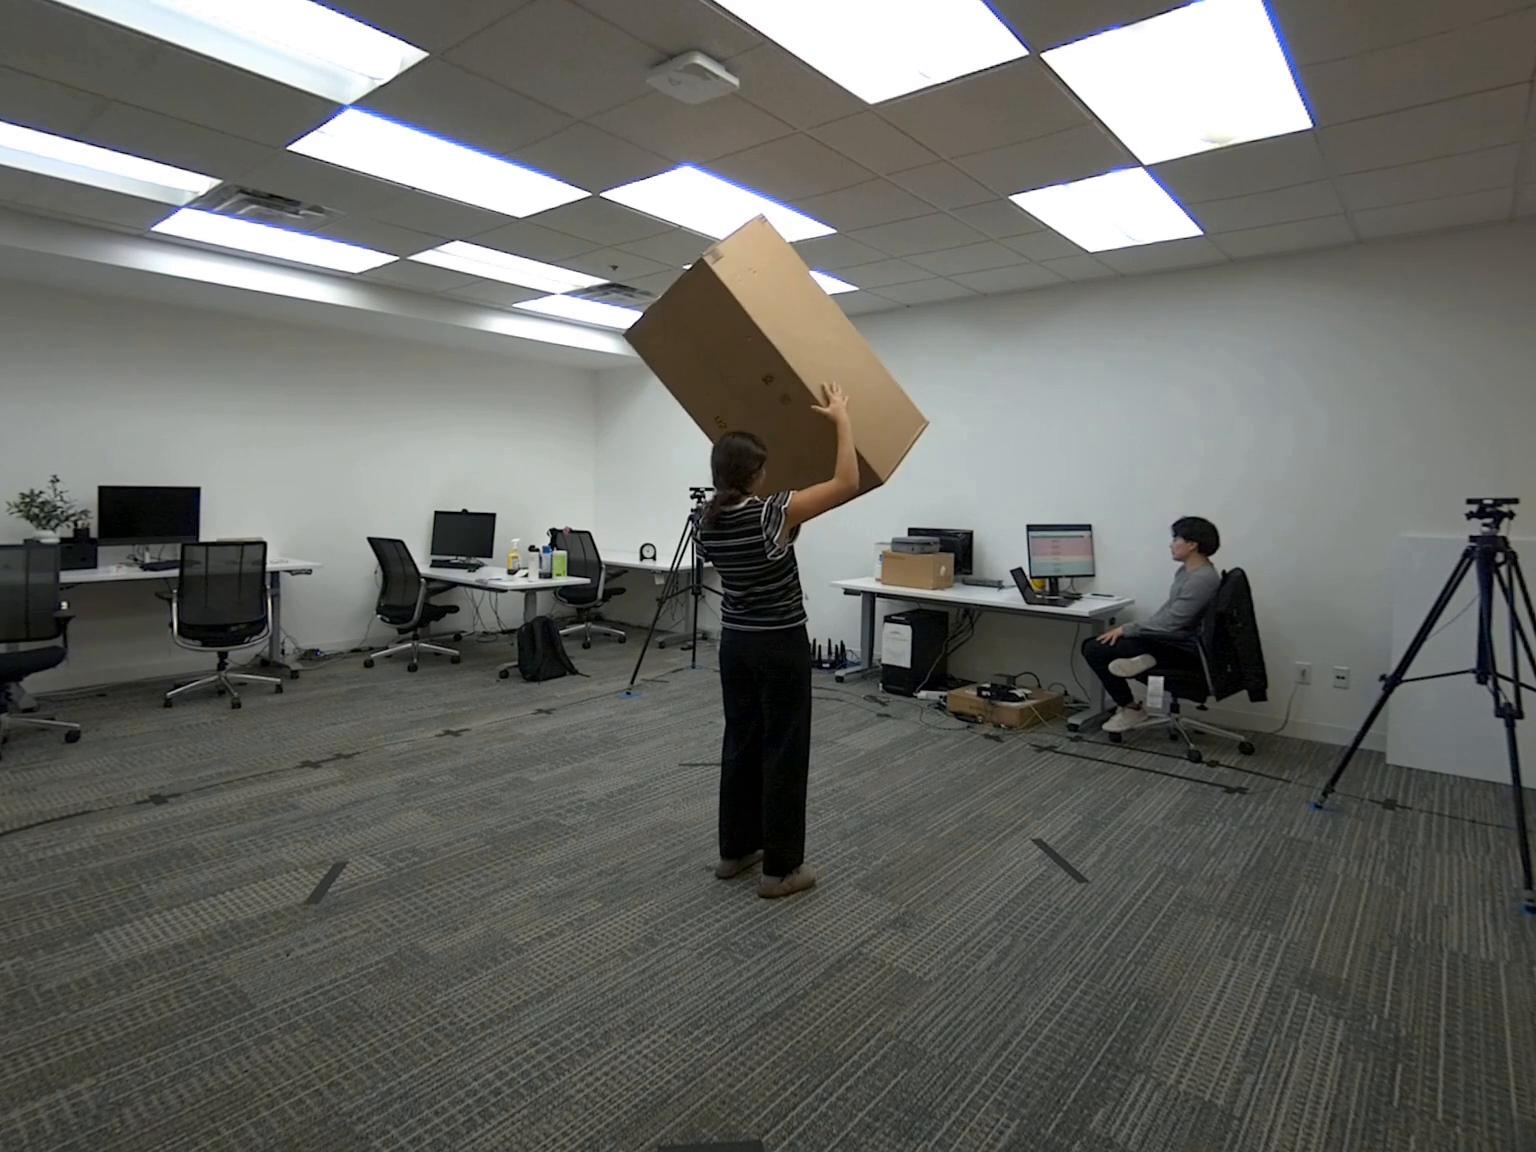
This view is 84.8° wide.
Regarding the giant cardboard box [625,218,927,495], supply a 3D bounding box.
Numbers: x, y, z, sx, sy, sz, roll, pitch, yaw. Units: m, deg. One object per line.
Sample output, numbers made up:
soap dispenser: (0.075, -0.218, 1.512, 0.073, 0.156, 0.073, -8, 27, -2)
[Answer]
giant cardboard box: (0.027, -0.756, 3.282, 0.586, 1.012, 0.426, -27, 16, 50)
